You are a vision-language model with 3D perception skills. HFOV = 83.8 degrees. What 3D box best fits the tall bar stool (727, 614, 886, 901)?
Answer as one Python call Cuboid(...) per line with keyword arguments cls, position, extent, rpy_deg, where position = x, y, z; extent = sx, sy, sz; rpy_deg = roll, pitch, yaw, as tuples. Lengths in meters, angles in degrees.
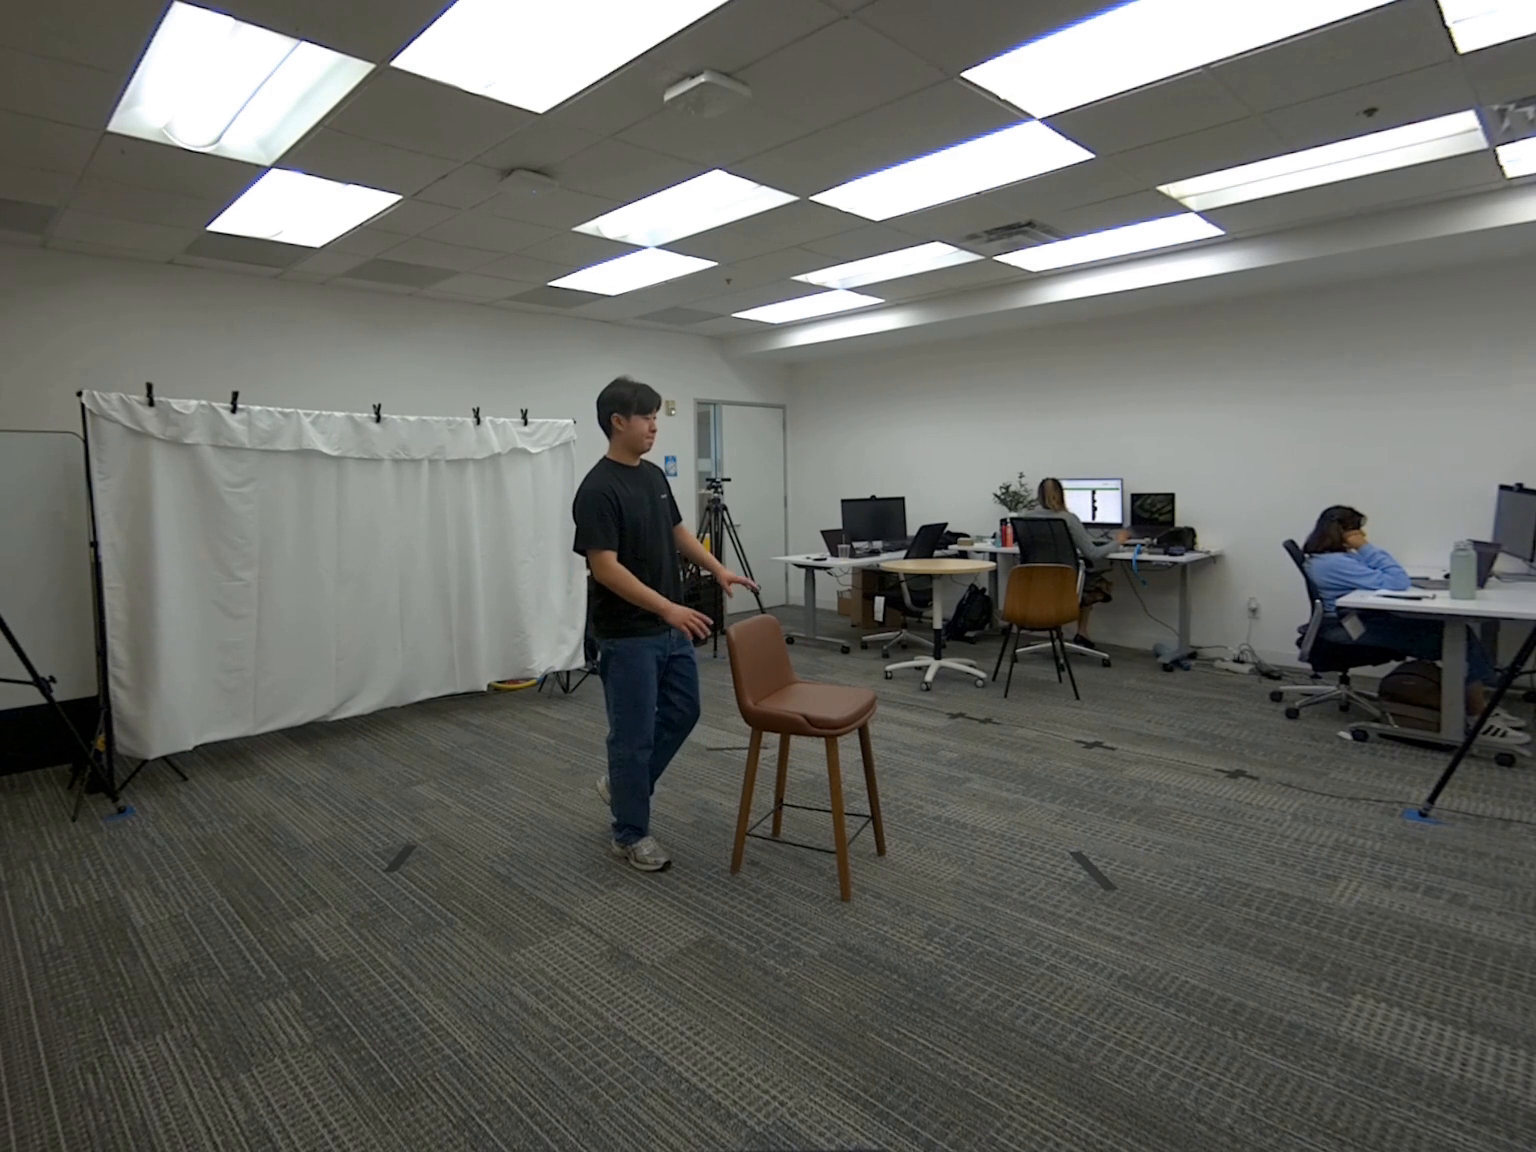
Cuboid(cls="tall bar stool", position=(0.134, 0.601, 3.067), extent=(0.479, 0.888, 0.447), rpy_deg=(-1, 3, 28))
